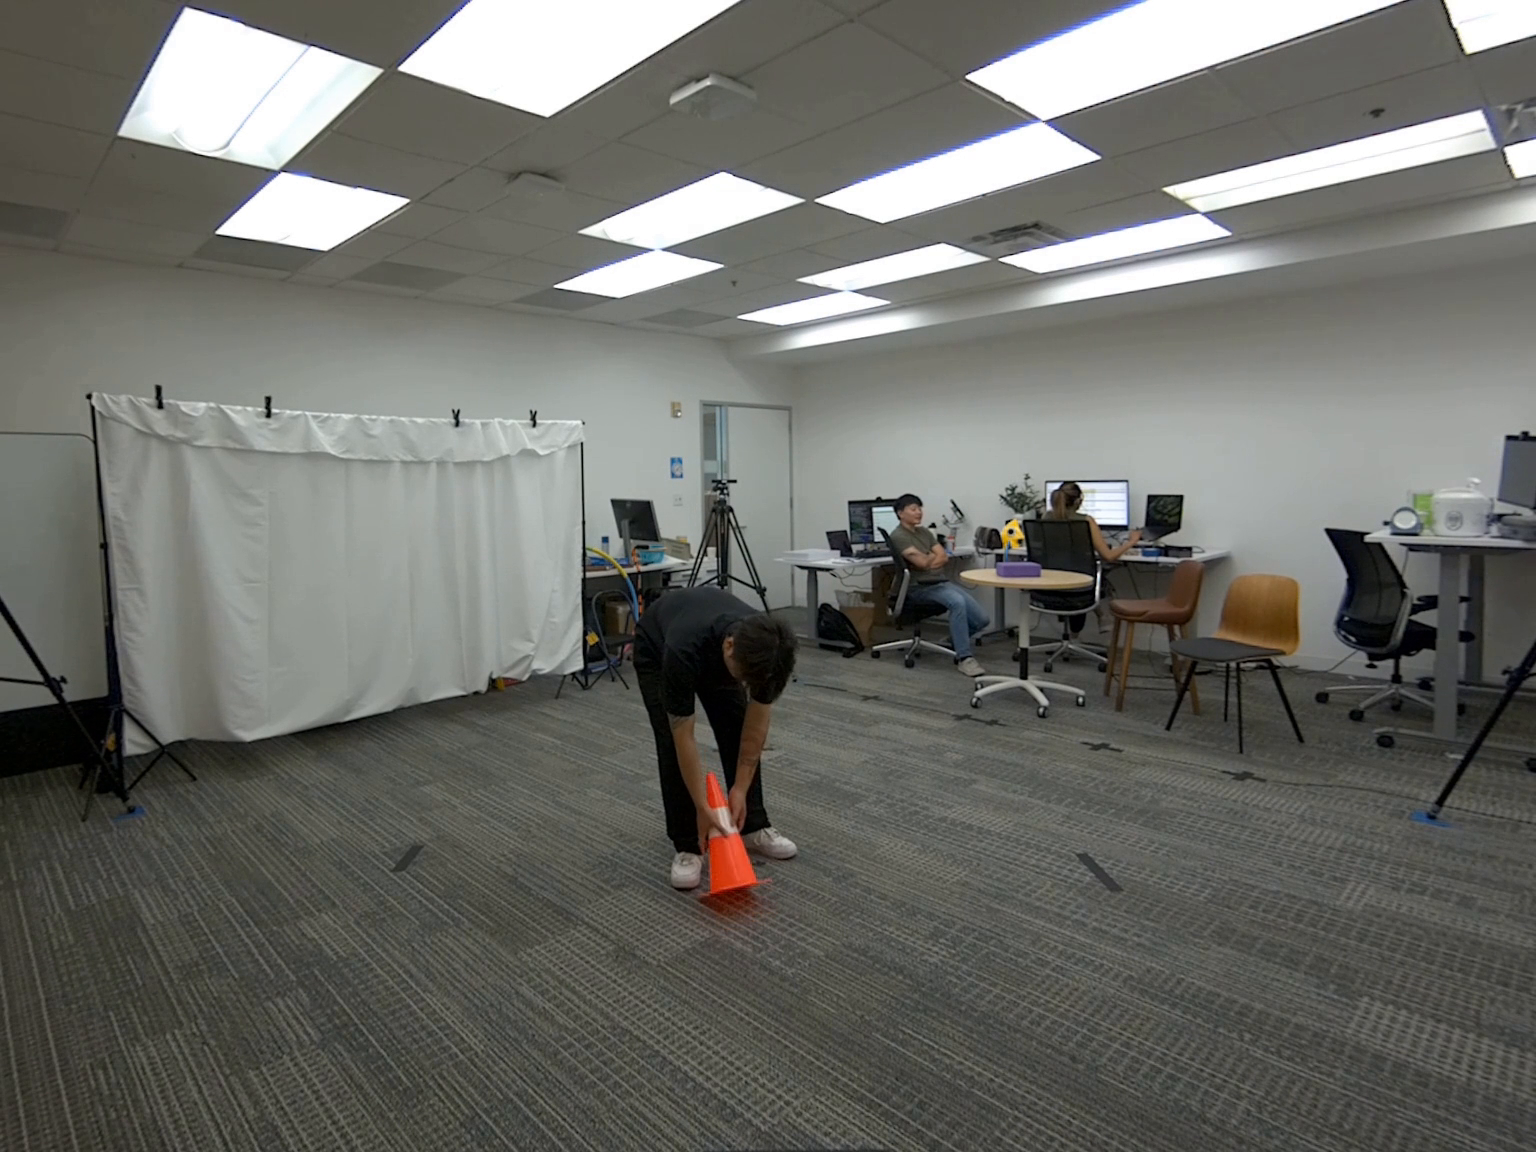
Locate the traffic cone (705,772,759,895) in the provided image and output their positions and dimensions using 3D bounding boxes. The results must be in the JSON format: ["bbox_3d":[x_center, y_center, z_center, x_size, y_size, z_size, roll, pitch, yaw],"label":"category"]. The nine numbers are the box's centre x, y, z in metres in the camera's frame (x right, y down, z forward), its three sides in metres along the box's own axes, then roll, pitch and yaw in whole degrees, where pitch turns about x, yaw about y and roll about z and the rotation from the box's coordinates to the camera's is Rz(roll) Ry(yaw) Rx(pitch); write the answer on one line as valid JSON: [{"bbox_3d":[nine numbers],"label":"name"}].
[{"bbox_3d":[-0.163,0.872,2.898,0.199,0.393,0.204,2,-27,-36],"label":"traffic cone"}]
